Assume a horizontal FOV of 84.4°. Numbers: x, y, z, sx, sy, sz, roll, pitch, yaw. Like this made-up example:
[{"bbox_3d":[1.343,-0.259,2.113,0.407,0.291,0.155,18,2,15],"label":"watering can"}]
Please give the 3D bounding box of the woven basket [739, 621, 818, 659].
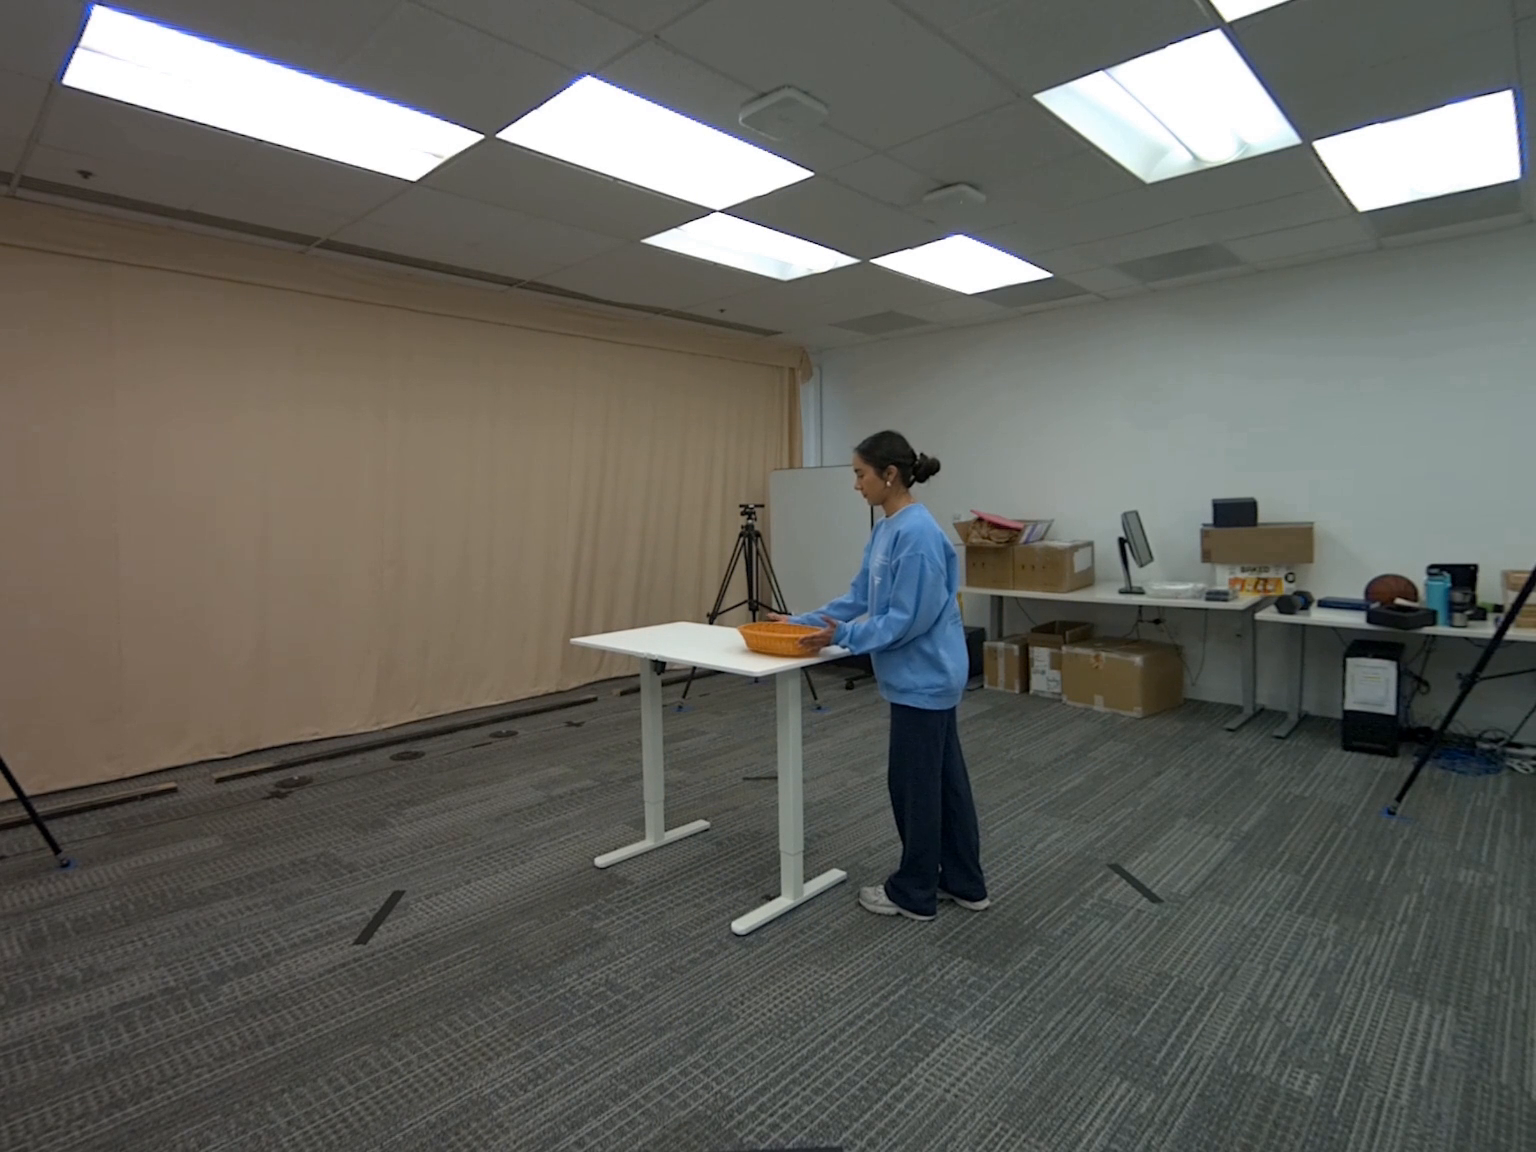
[{"bbox_3d":[0.068,0.214,2.928,0.245,0.073,0.362,-6,8,-41],"label":"woven basket"}]
